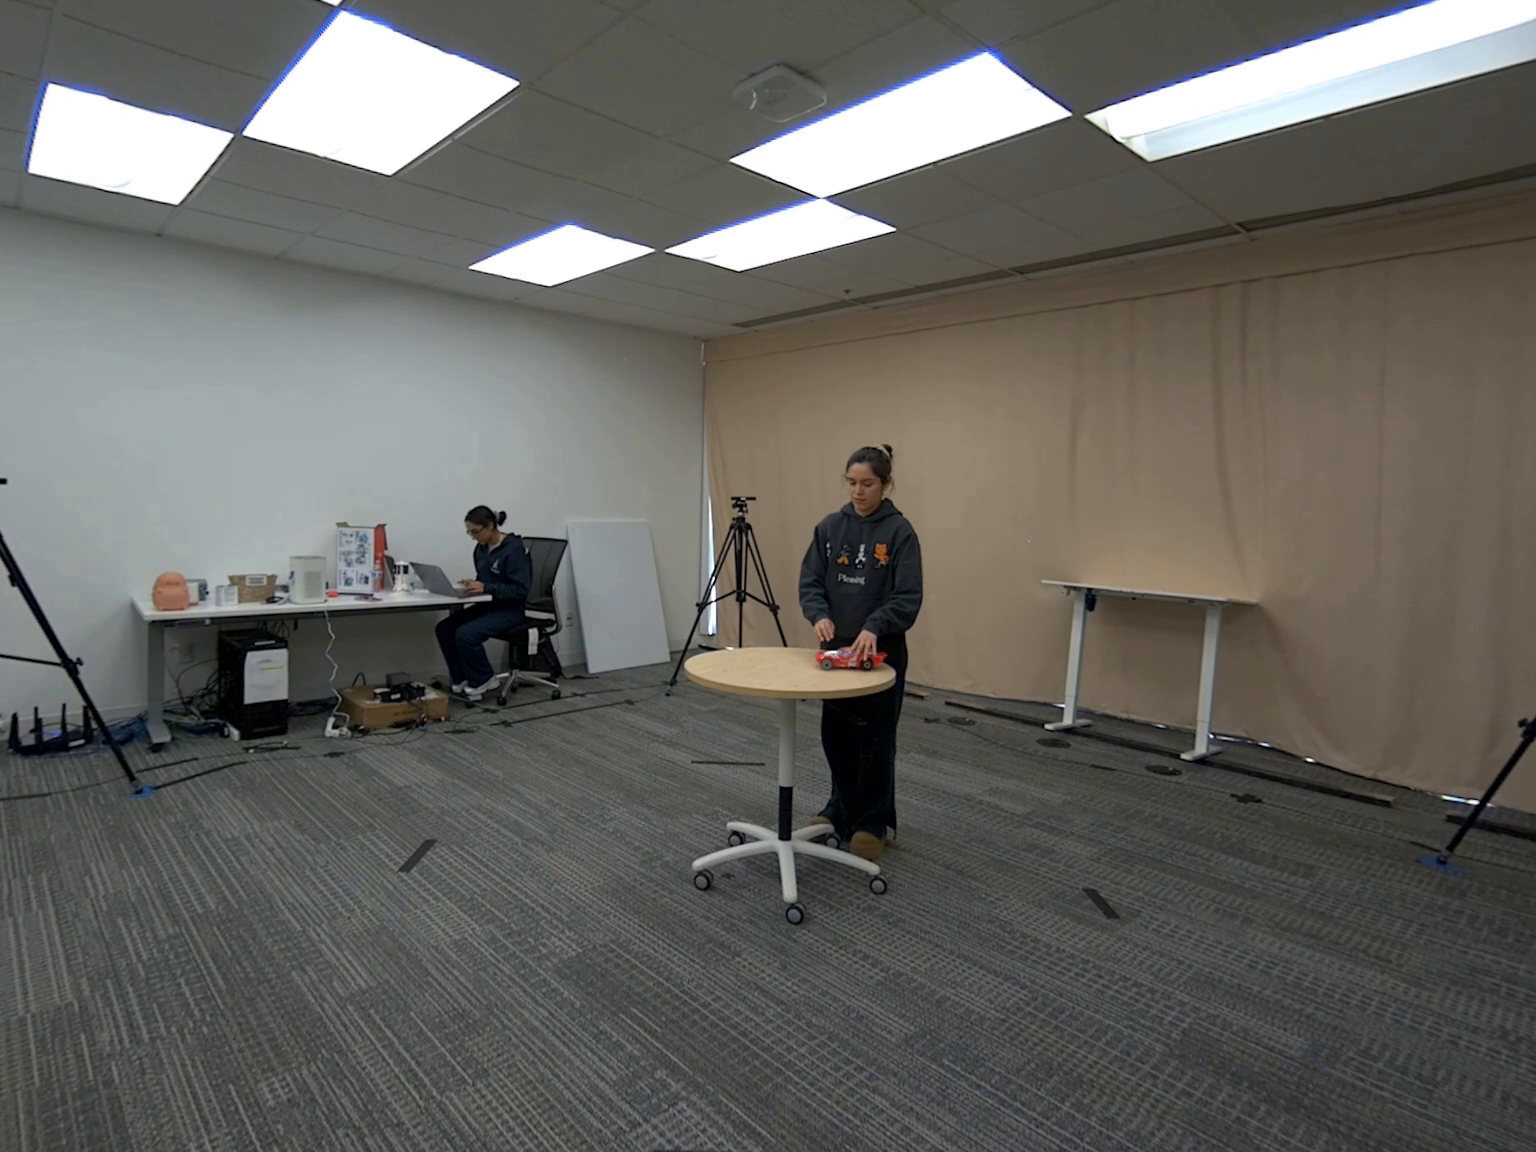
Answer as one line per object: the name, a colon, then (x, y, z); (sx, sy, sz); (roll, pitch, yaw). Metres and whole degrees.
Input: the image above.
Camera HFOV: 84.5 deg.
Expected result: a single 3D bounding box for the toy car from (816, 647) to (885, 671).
toy car: (0.295, 0.305, 3.075); (0.255, 0.083, 0.131); (-10, 6, 0)
